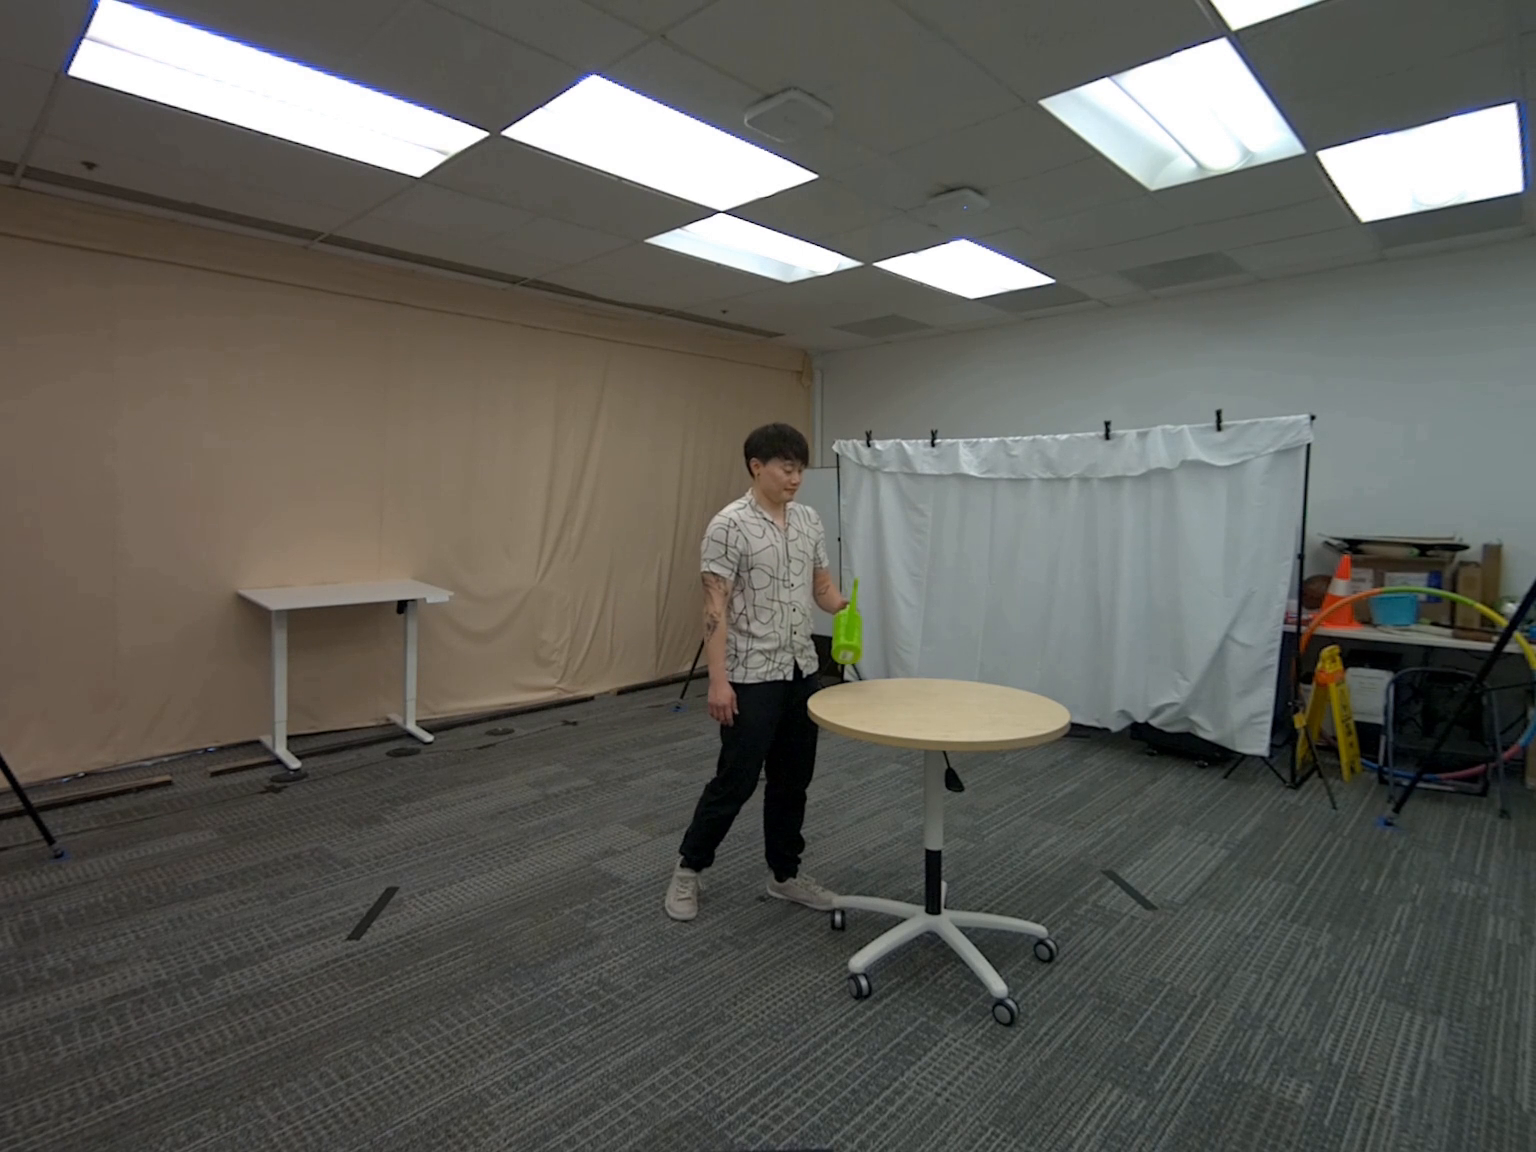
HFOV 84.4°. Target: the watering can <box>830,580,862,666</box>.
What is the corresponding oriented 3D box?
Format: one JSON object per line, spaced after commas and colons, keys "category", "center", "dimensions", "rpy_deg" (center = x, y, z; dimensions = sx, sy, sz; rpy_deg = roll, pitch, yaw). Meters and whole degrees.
{"category": "watering can", "center": [0.250, 0.158, 2.677], "dimensions": [0.099, 0.179, 0.270], "rpy_deg": [-2, -38, 12]}
